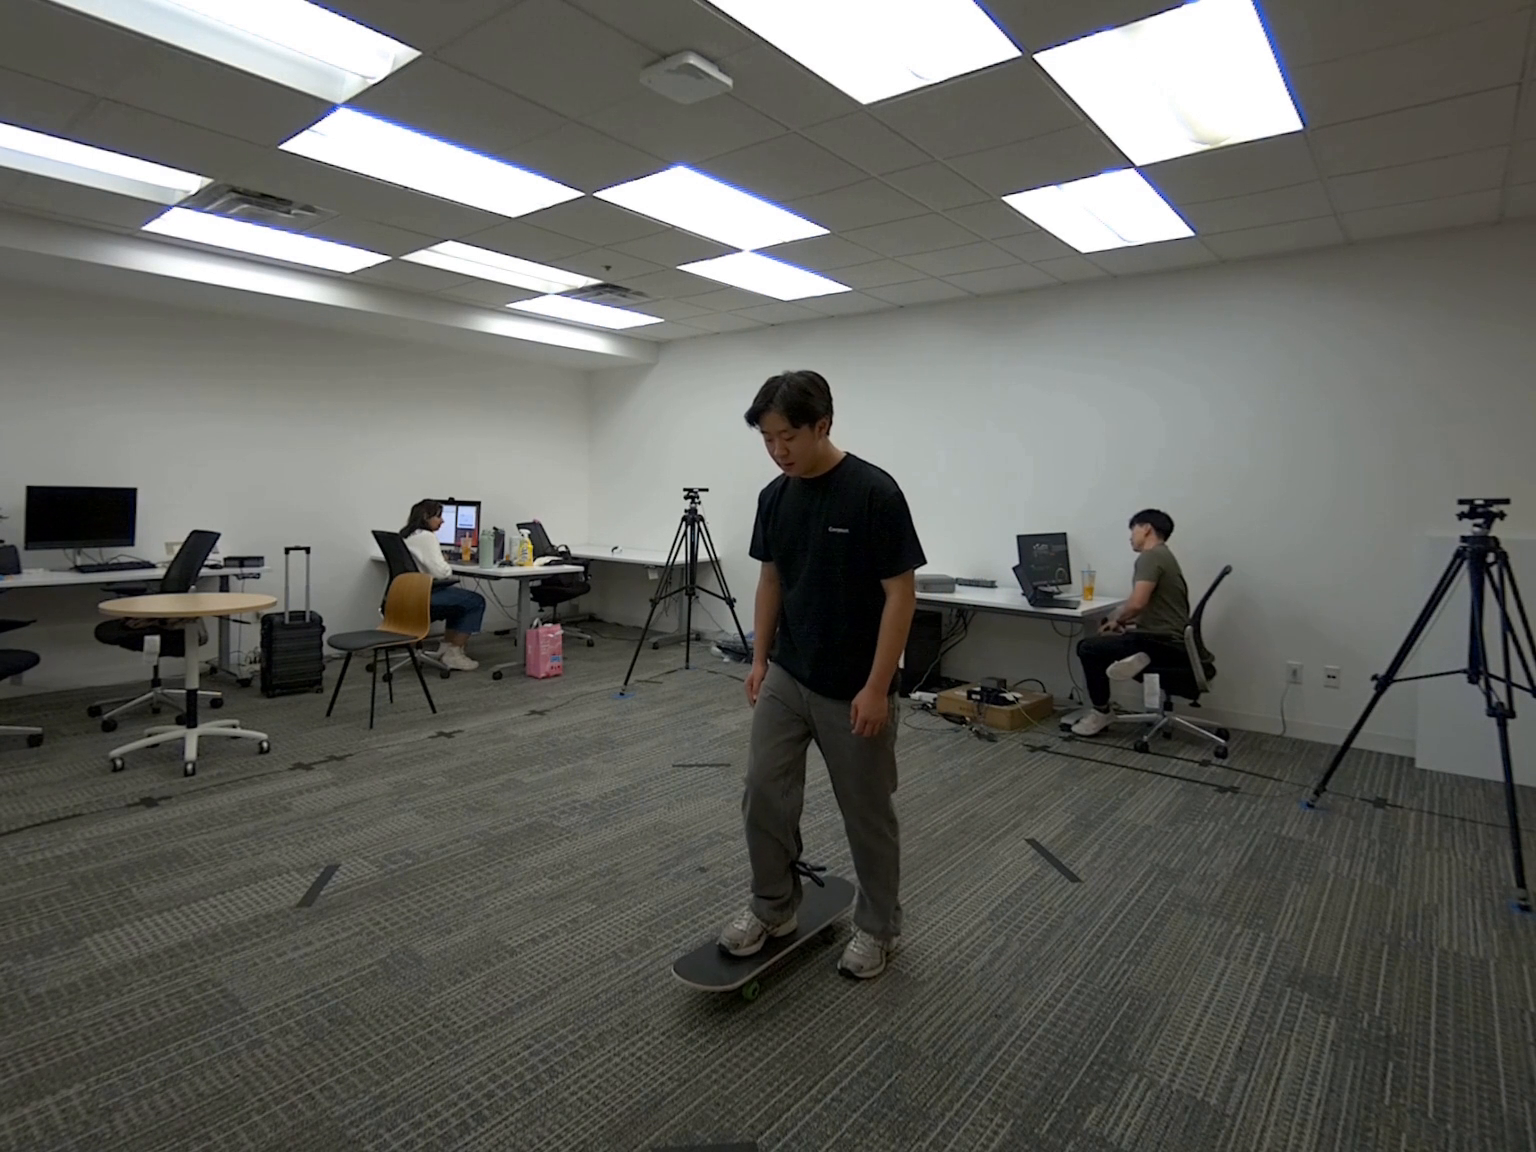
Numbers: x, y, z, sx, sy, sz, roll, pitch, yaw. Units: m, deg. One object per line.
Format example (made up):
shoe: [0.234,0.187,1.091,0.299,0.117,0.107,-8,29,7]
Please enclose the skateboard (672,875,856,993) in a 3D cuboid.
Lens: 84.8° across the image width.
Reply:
skateboard: [0.008,1.082,2.522,0.200,0.110,0.763,5,6,37]
